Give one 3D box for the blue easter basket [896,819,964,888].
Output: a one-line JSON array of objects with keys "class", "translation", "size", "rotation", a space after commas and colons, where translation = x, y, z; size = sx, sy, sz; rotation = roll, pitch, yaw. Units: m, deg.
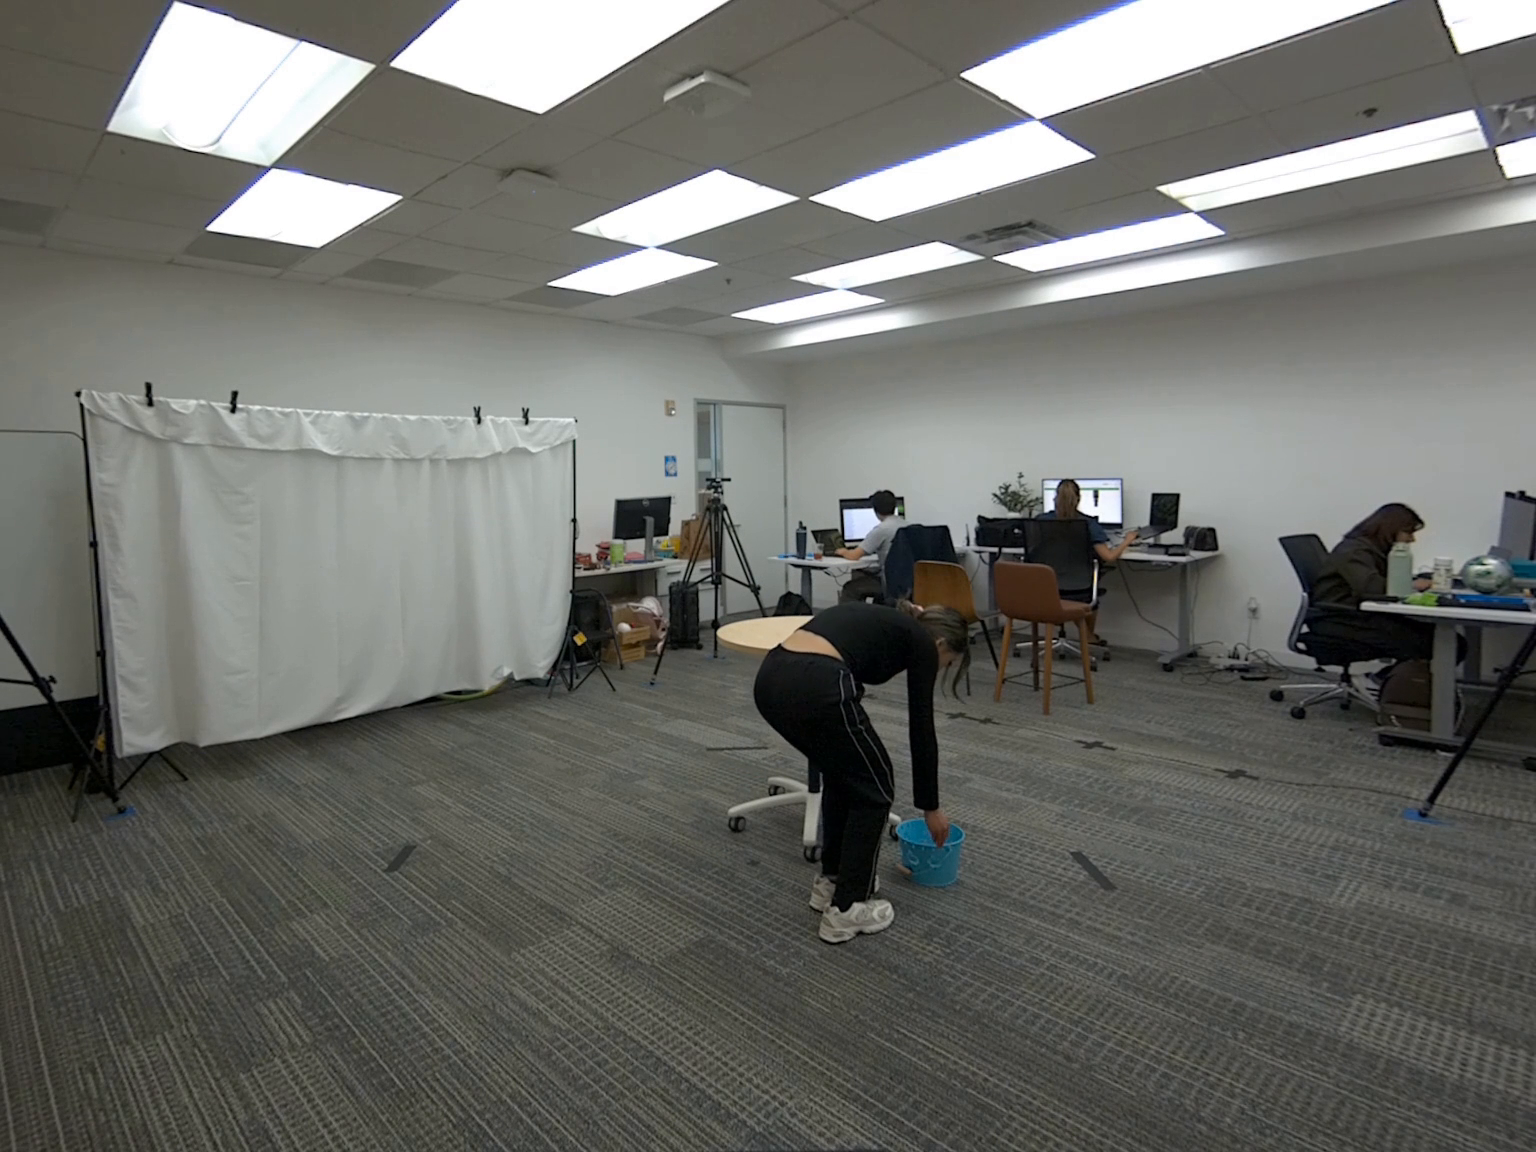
[{"class": "blue easter basket", "translation": [0.563, 0.967, 2.990], "size": [0.243, 0.155, 0.245], "rotation": [-2, 6, -2]}]
